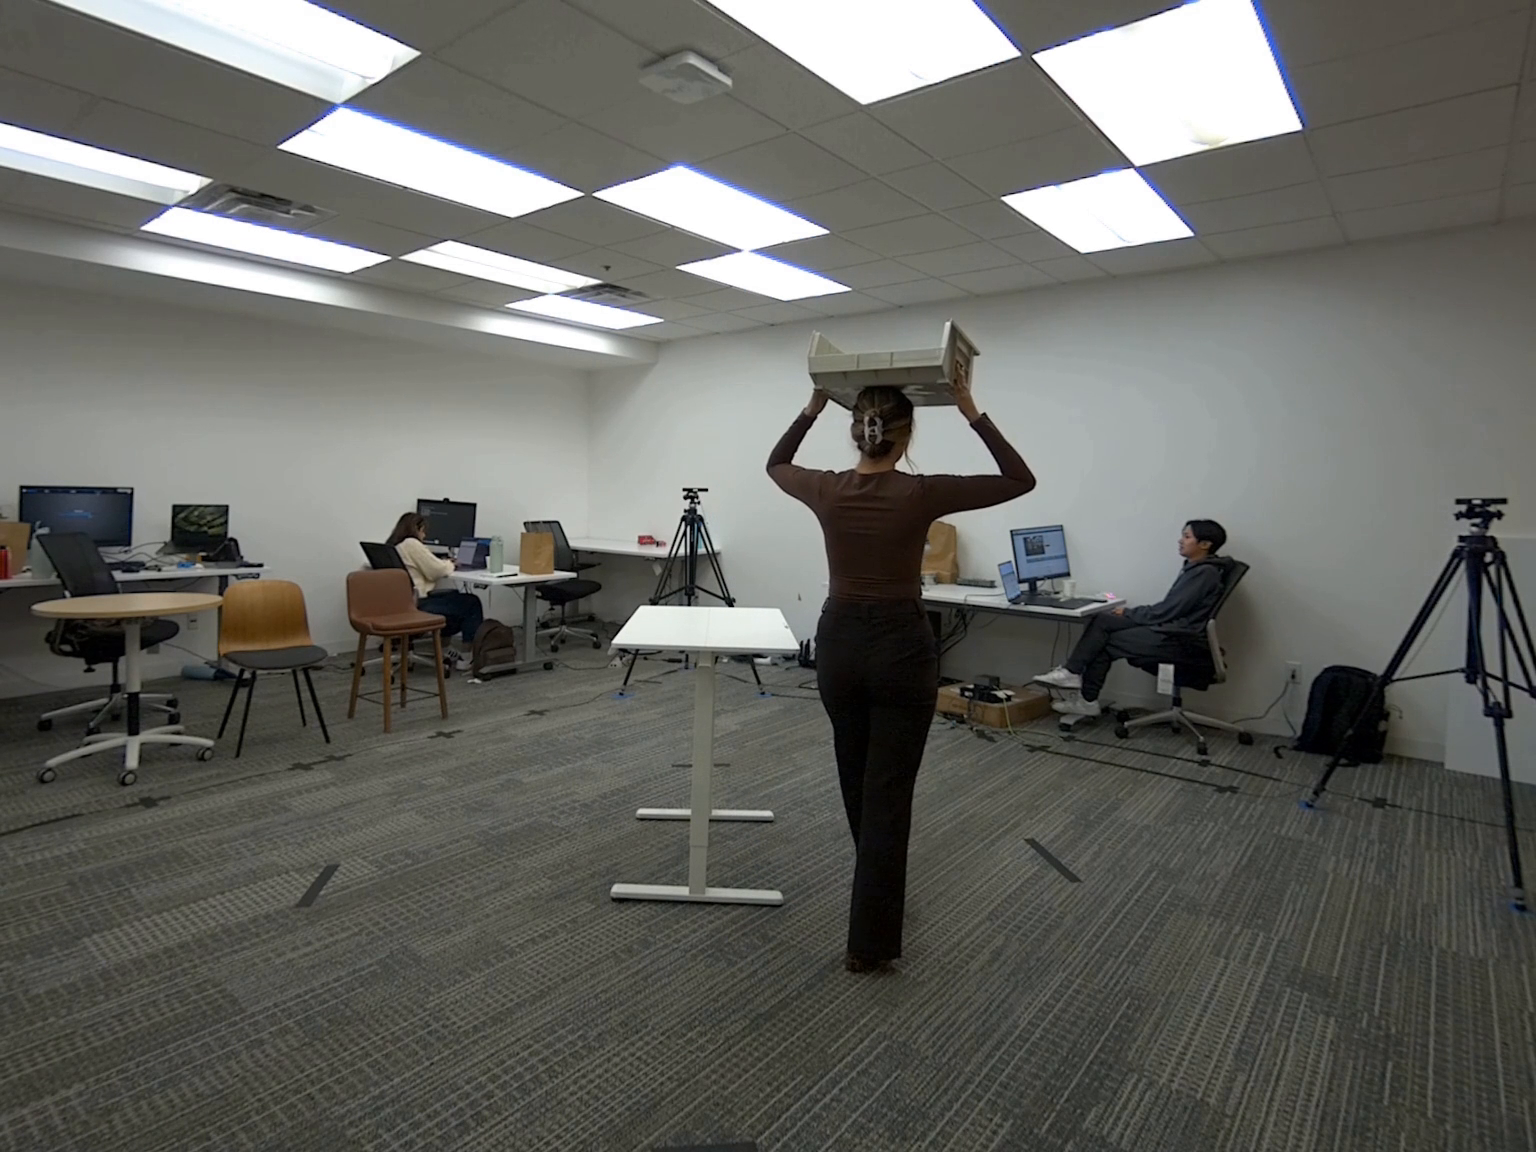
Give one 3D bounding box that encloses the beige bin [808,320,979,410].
[{"bbox_3d":[0.378,-0.636,2.602,0.434,0.189,0.366,3,-2,28],"label":"beige bin"}]
